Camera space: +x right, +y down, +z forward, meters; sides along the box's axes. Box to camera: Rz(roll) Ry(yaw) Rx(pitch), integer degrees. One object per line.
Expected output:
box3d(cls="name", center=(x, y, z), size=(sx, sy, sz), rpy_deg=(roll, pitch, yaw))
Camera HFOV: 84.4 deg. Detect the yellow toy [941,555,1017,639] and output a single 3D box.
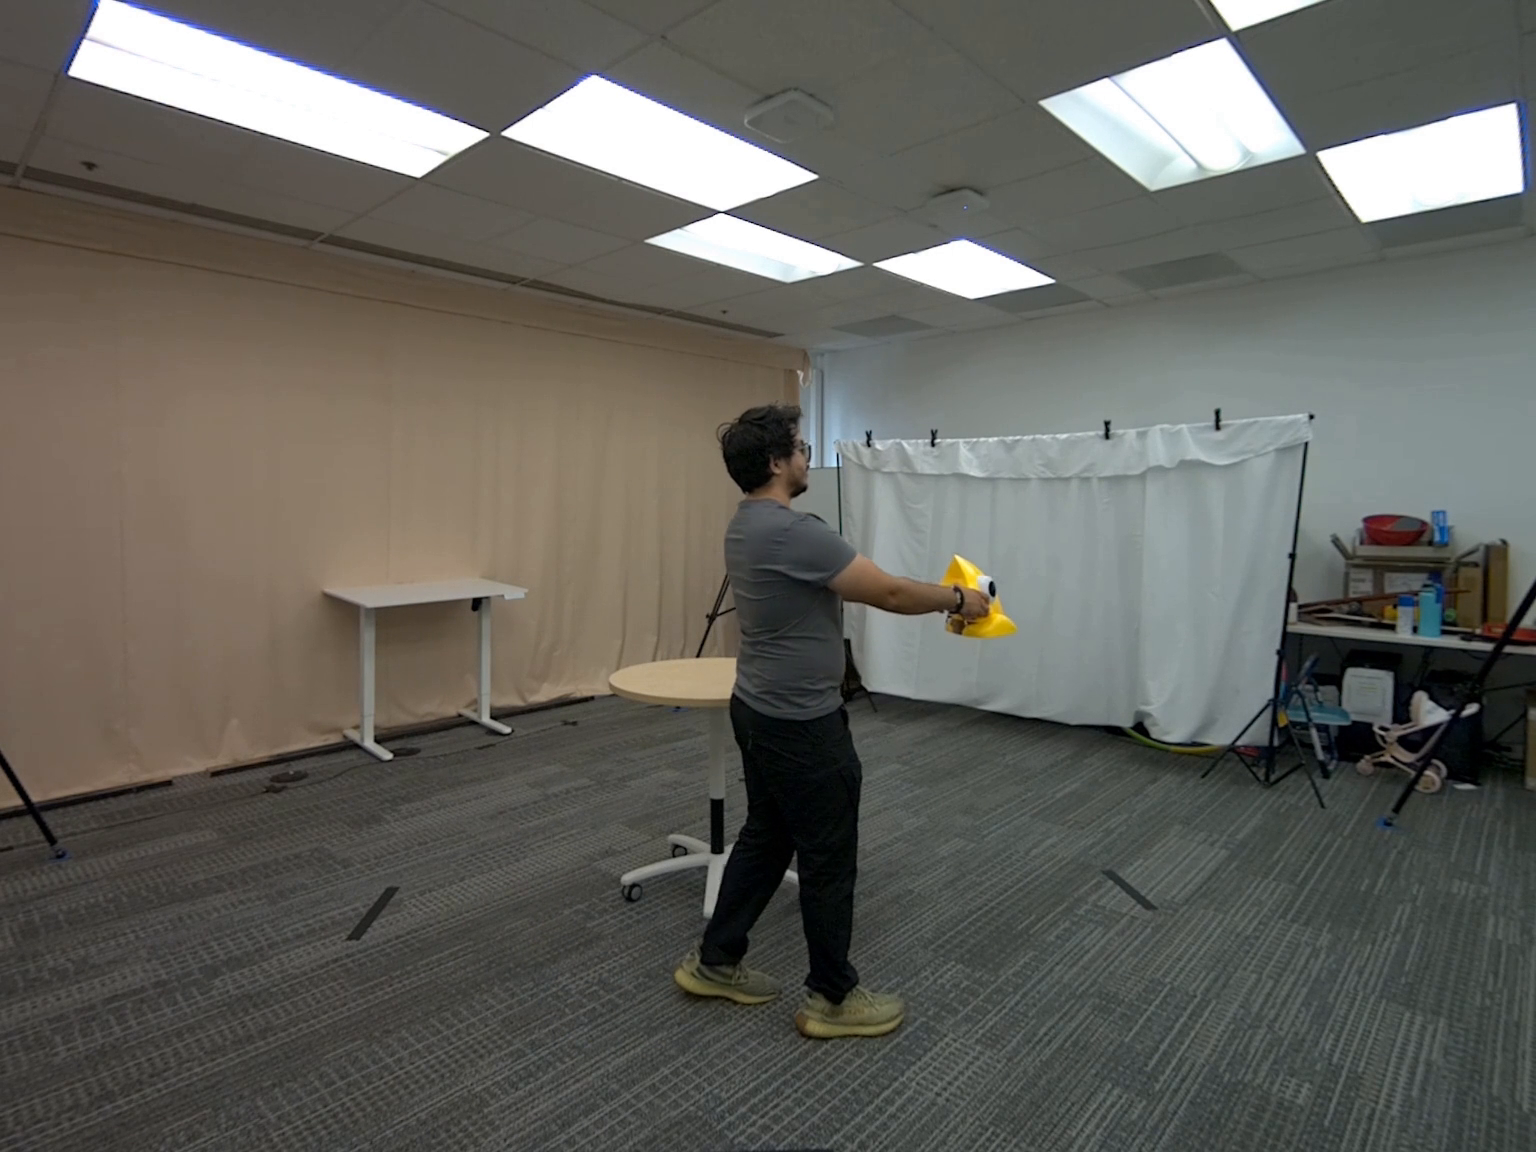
box3d(cls="yellow toy", center=(0.610, 0.047, 2.438), size=(0.189, 0.230, 0.209), rpy_deg=(-7, 6, -20))
